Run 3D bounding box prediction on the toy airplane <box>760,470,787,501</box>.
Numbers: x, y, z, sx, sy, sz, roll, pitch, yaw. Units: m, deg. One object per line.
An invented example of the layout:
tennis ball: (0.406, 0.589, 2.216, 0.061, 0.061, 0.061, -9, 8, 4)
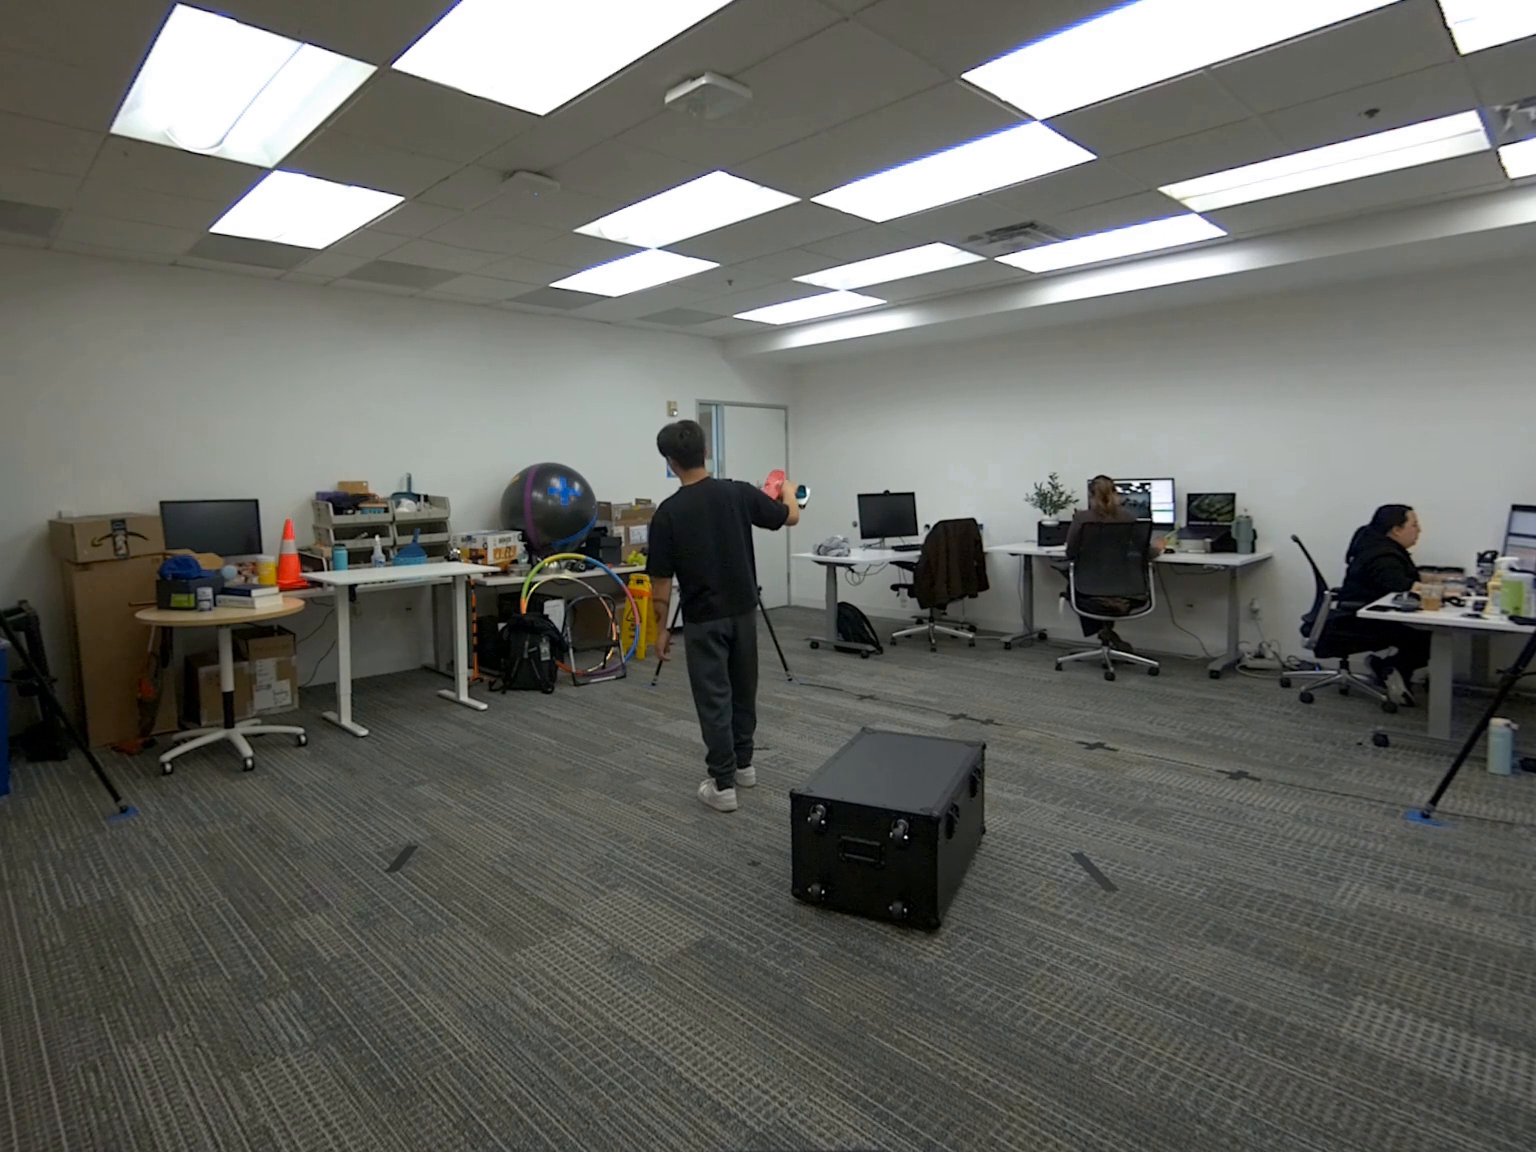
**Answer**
toy airplane: (0.068, -0.402, 4.128, 0.260, 0.151, 0.259, -23, 38, 4)
